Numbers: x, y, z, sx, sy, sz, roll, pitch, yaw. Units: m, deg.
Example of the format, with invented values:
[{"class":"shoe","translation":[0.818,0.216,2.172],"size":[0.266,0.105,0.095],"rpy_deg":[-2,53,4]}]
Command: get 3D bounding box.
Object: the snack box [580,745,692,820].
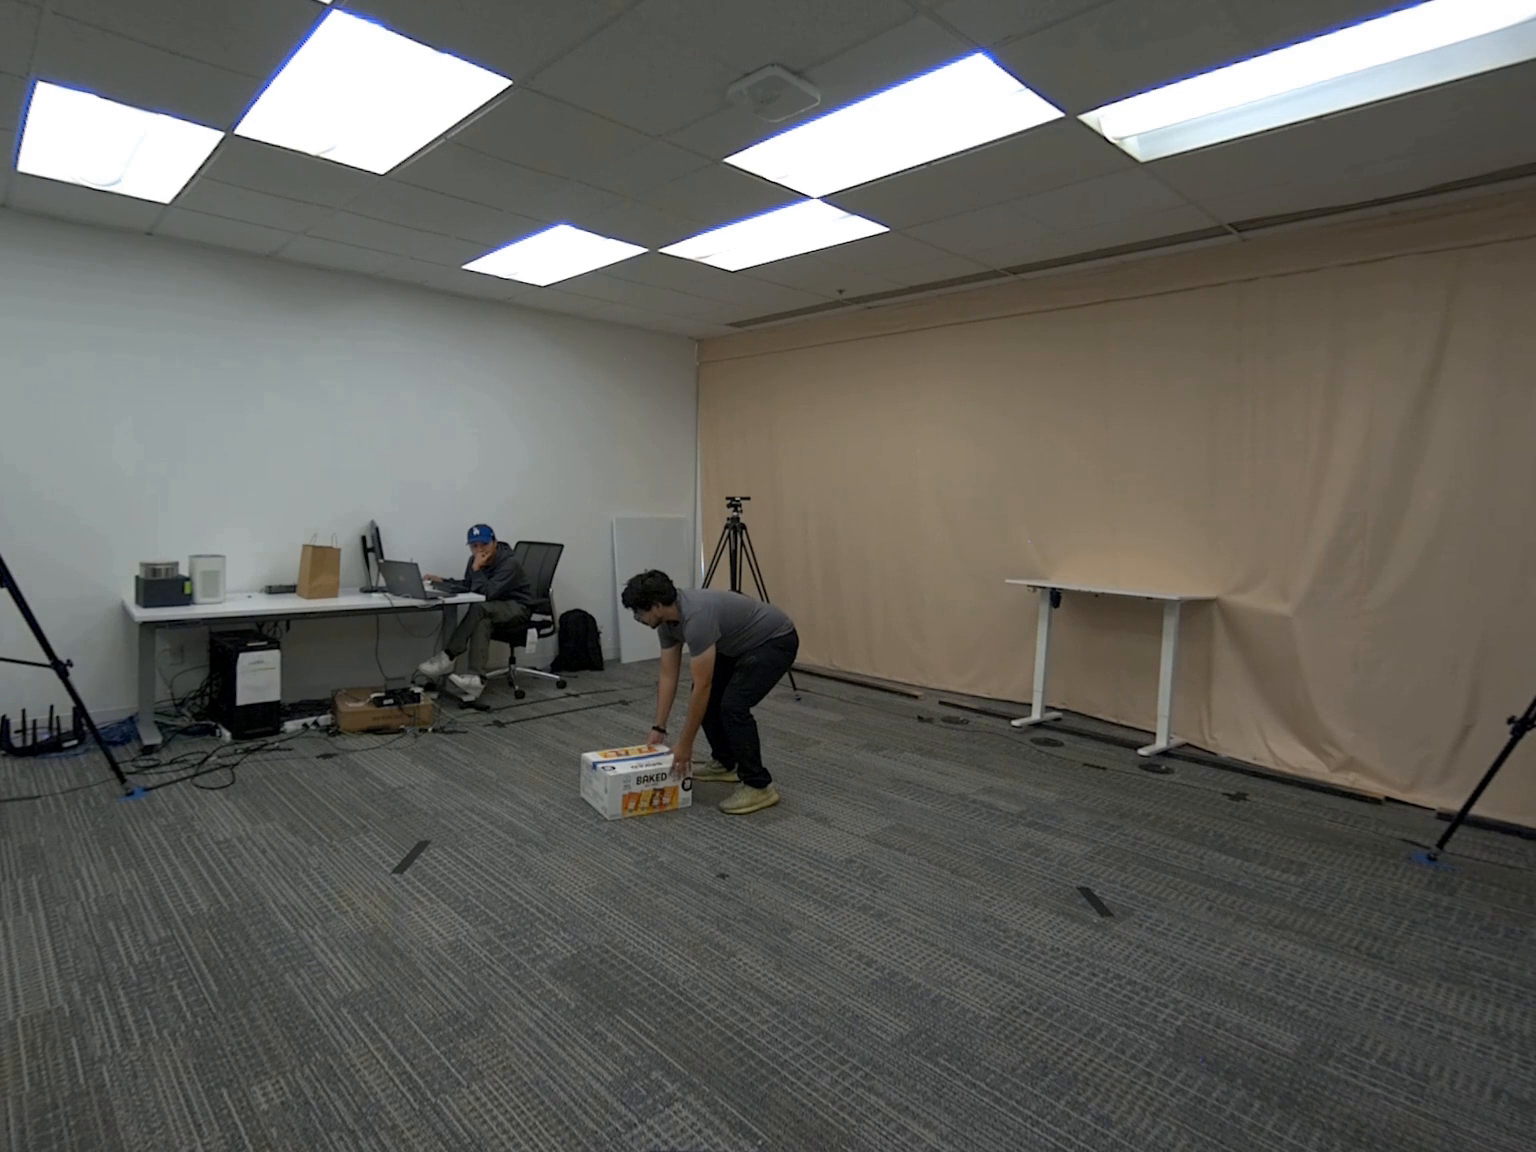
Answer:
[{"class":"snack box","translation":[-0.615,0.930,3.840],"size":[0.397,0.205,0.348],"rpy_deg":[-1,5,-32]}]
